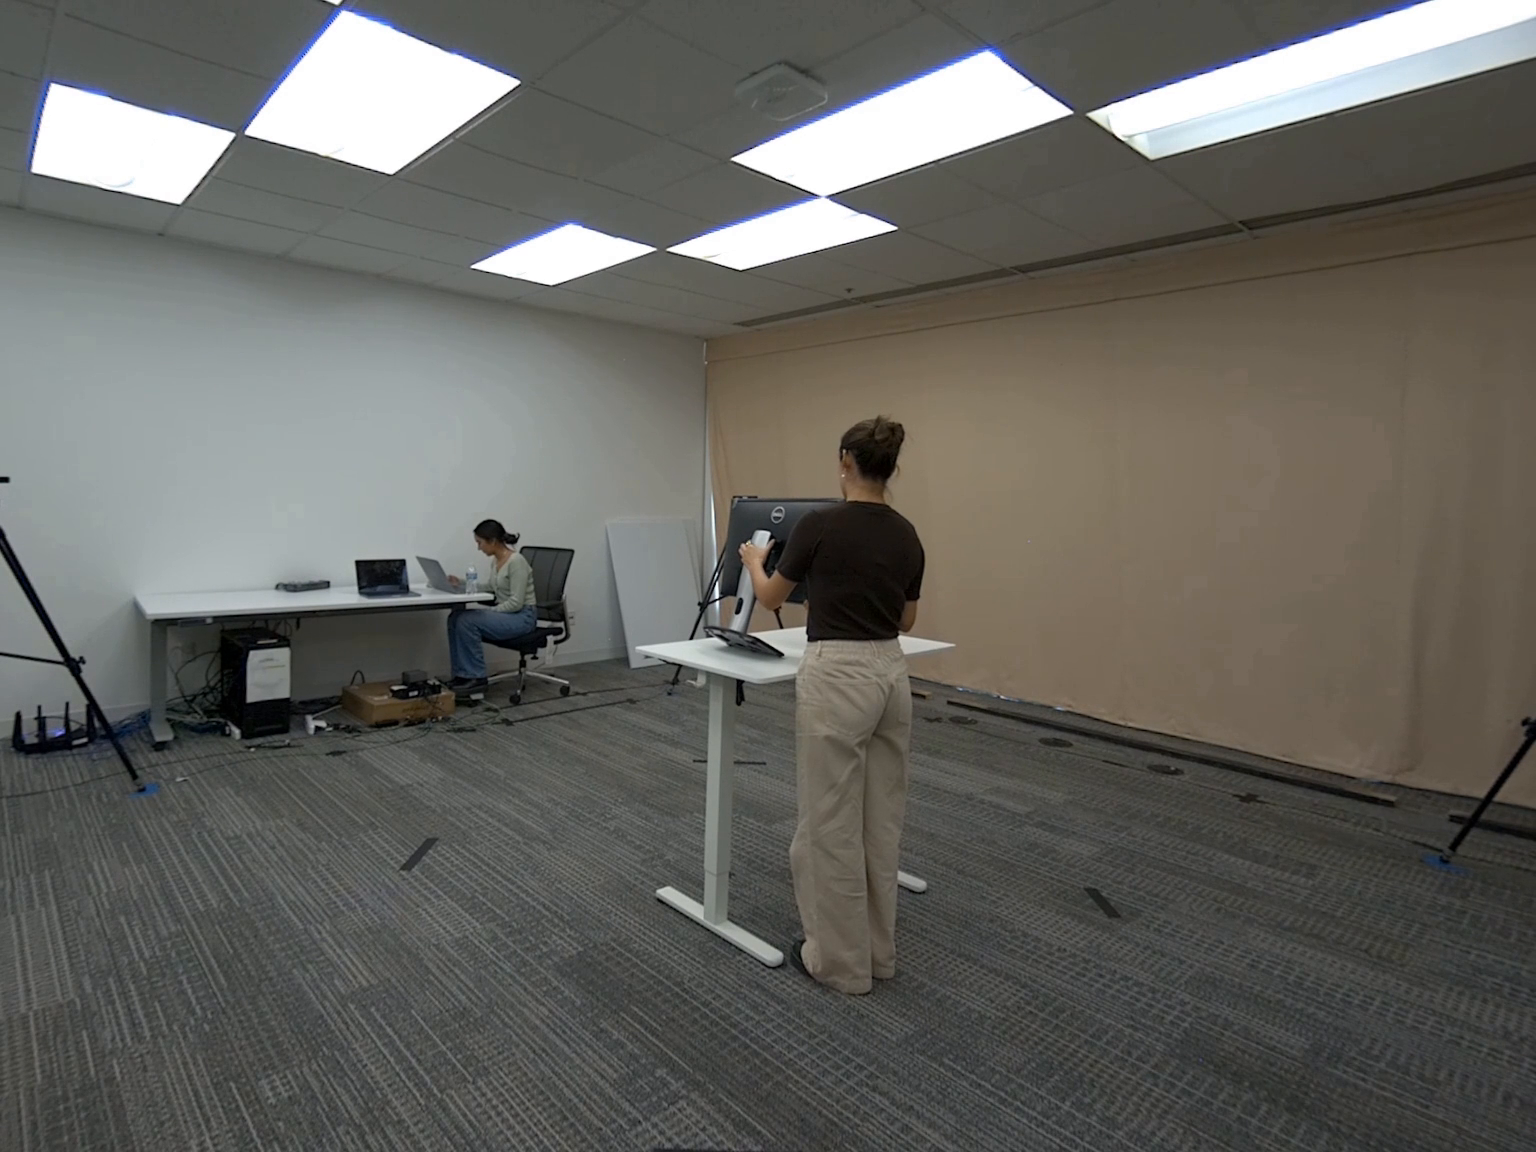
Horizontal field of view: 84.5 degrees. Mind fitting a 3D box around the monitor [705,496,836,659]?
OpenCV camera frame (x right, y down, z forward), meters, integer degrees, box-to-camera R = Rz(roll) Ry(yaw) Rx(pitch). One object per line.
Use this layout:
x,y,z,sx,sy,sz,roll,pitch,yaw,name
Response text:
-0.011,-0.015,2.800,0.553,0.525,0.181,5,-17,44,monitor
